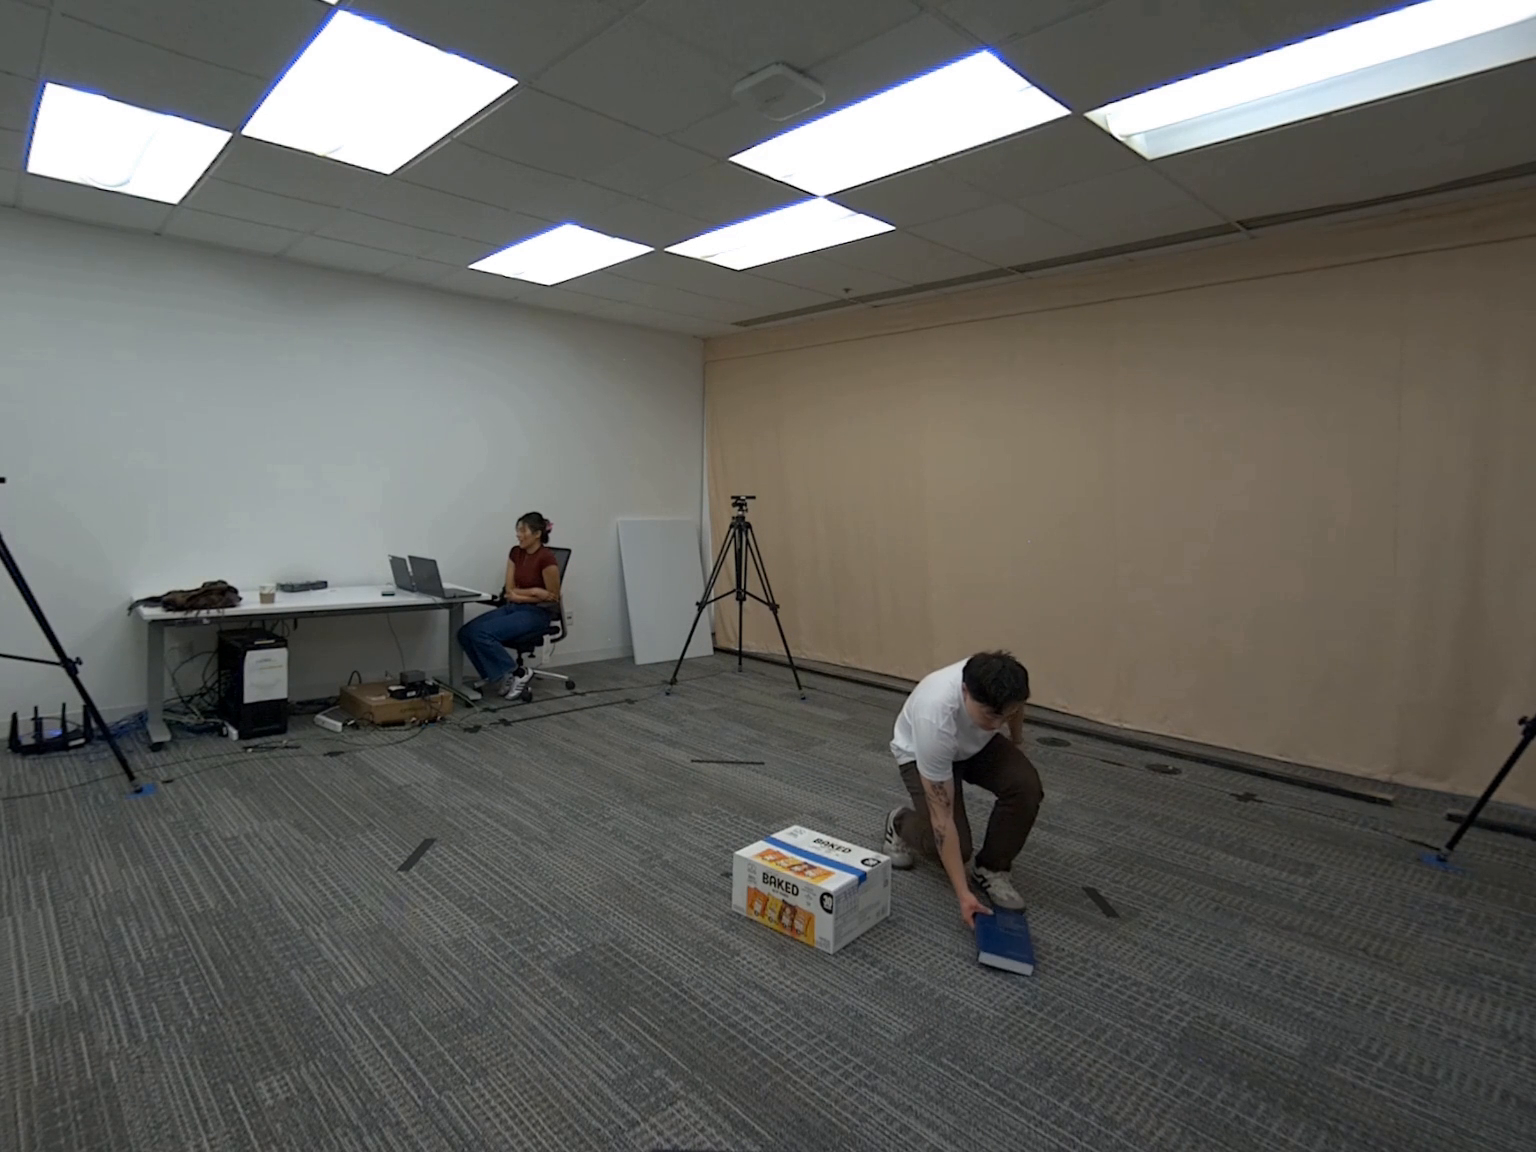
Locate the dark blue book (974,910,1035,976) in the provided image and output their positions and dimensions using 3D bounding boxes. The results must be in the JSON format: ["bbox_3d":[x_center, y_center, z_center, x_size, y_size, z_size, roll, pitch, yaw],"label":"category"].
[{"bbox_3d":[0.718,1.122,2.606,0.165,0.045,0.245,12,12,7],"label":"dark blue book"}]
